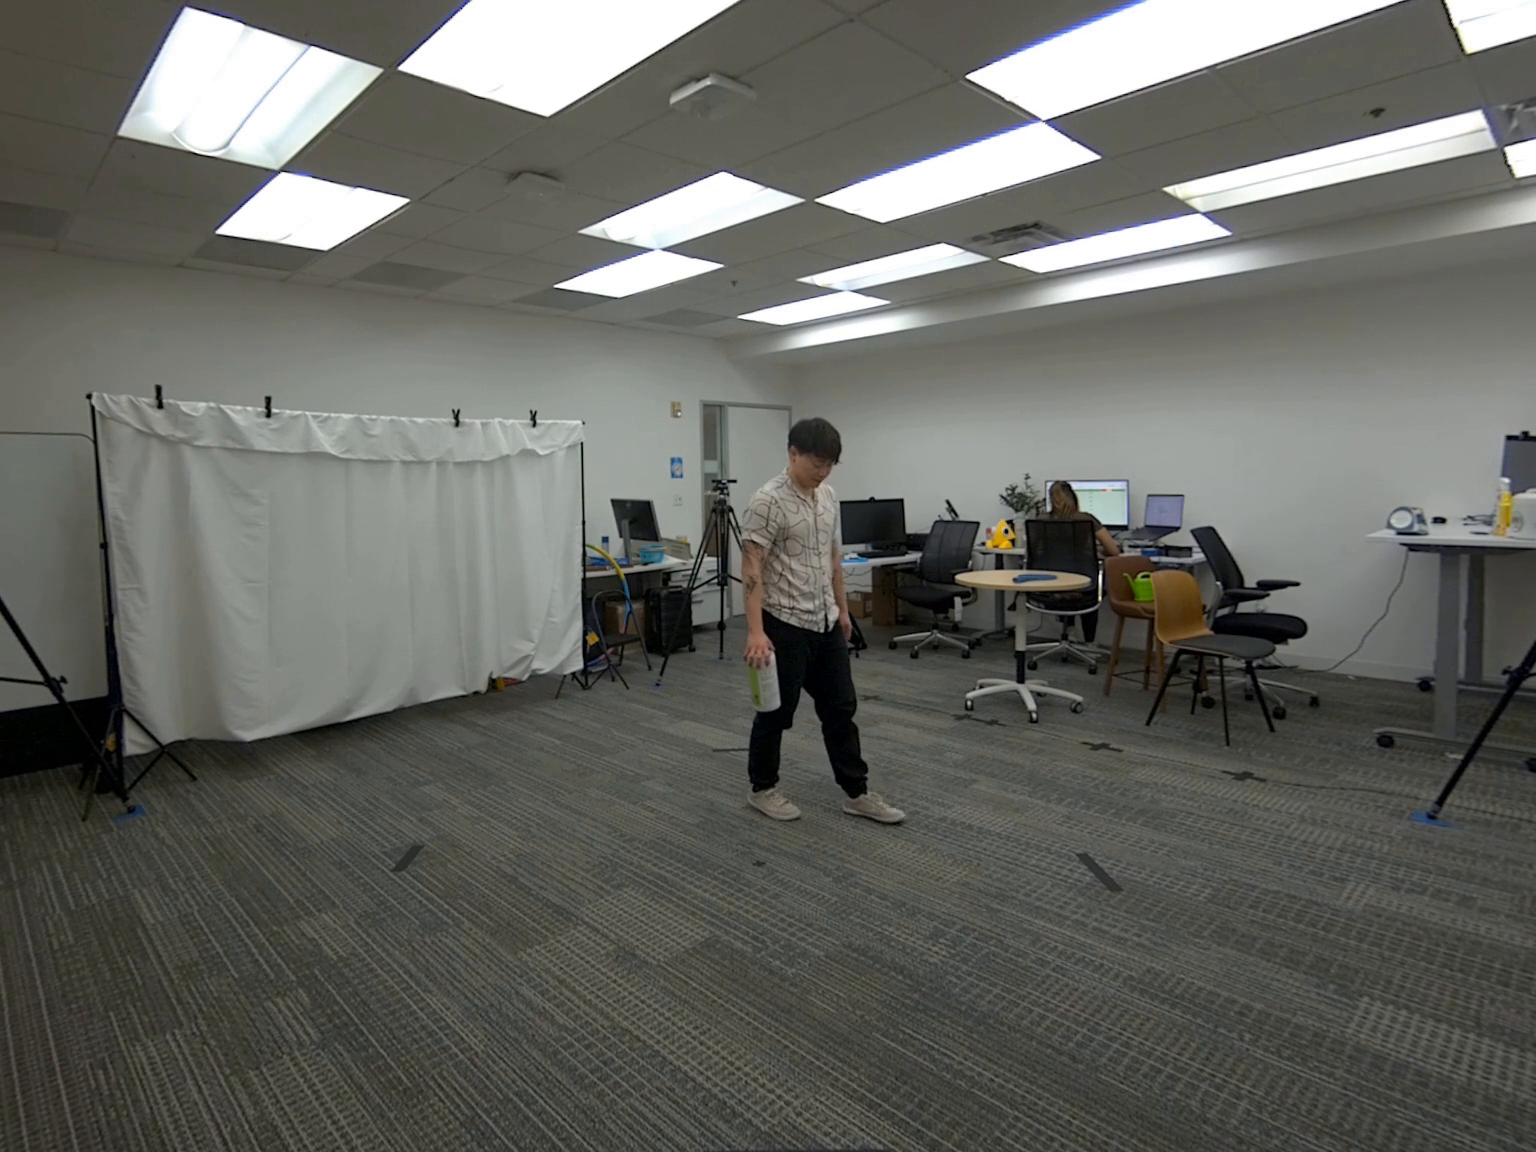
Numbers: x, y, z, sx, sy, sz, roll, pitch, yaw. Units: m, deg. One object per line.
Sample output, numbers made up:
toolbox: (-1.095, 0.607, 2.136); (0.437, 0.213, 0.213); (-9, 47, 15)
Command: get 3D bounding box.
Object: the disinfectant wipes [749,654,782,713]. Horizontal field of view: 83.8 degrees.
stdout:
disinfectant wipes: (-0.007, 0.403, 3.295); (0.118, 0.215, 0.119); (-7, 11, 0)
